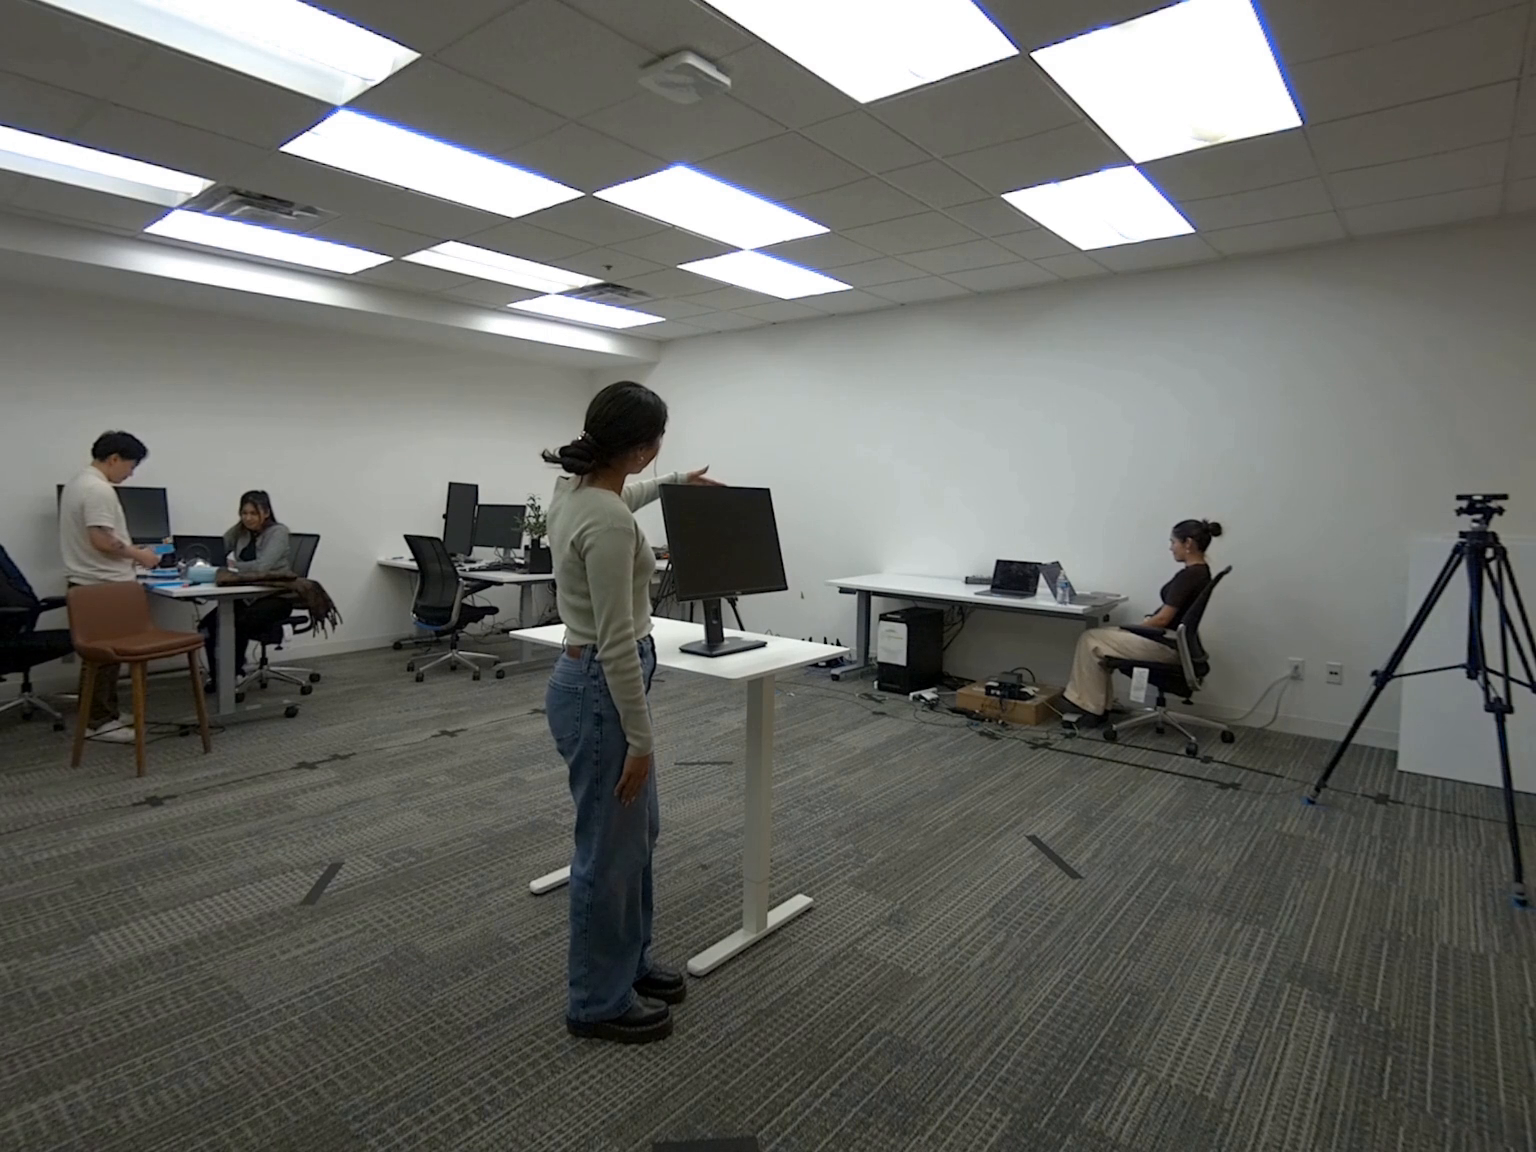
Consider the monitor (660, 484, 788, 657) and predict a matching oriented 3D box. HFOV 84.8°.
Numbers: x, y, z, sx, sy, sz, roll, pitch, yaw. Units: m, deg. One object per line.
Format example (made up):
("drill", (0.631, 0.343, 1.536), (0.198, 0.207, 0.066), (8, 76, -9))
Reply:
("monitor", (-0.159, -0.024, 2.688), (0.193, 0.522, 0.524), (1, 3, 36))
